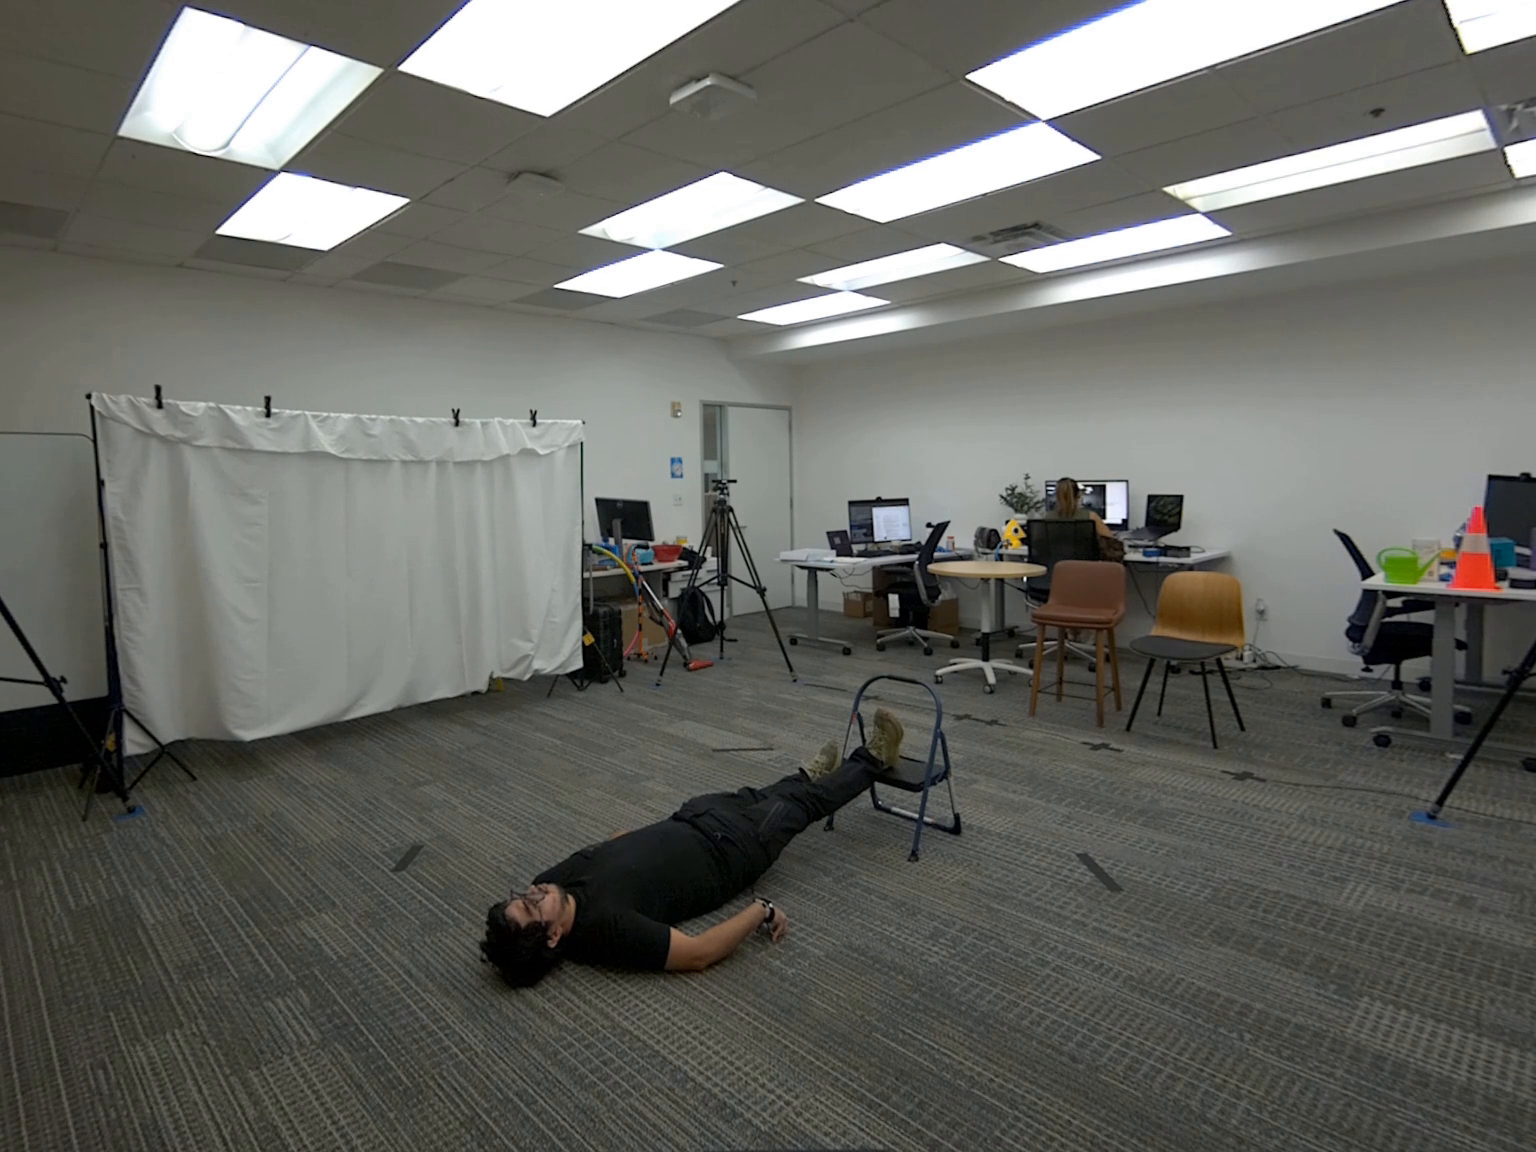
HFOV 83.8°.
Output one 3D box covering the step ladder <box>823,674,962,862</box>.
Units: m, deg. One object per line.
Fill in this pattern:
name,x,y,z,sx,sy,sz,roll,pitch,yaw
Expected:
step ladder,0.494,0.708,3.354,0.444,0.604,0.340,4,6,44
